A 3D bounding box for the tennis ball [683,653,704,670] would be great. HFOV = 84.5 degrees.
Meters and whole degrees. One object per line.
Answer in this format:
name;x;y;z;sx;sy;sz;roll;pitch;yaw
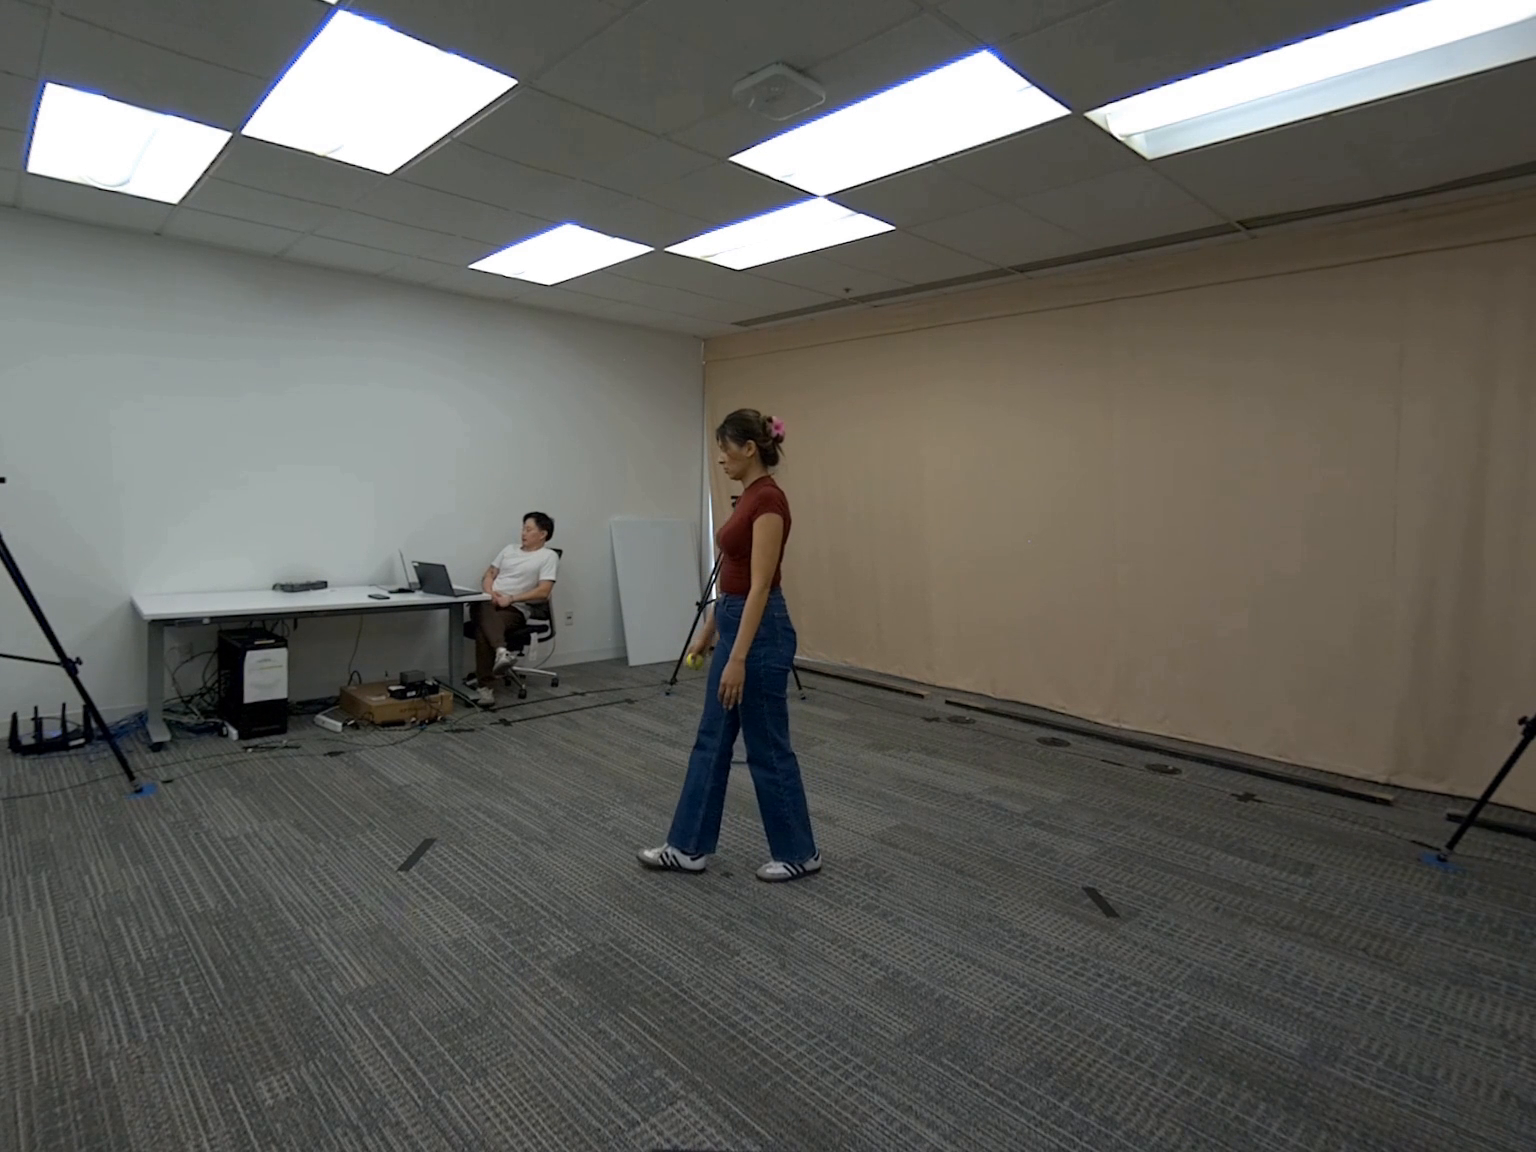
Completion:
tennis ball;-0.288;0.303;3.324;0.066;0.066;0.067;1;4;-1
